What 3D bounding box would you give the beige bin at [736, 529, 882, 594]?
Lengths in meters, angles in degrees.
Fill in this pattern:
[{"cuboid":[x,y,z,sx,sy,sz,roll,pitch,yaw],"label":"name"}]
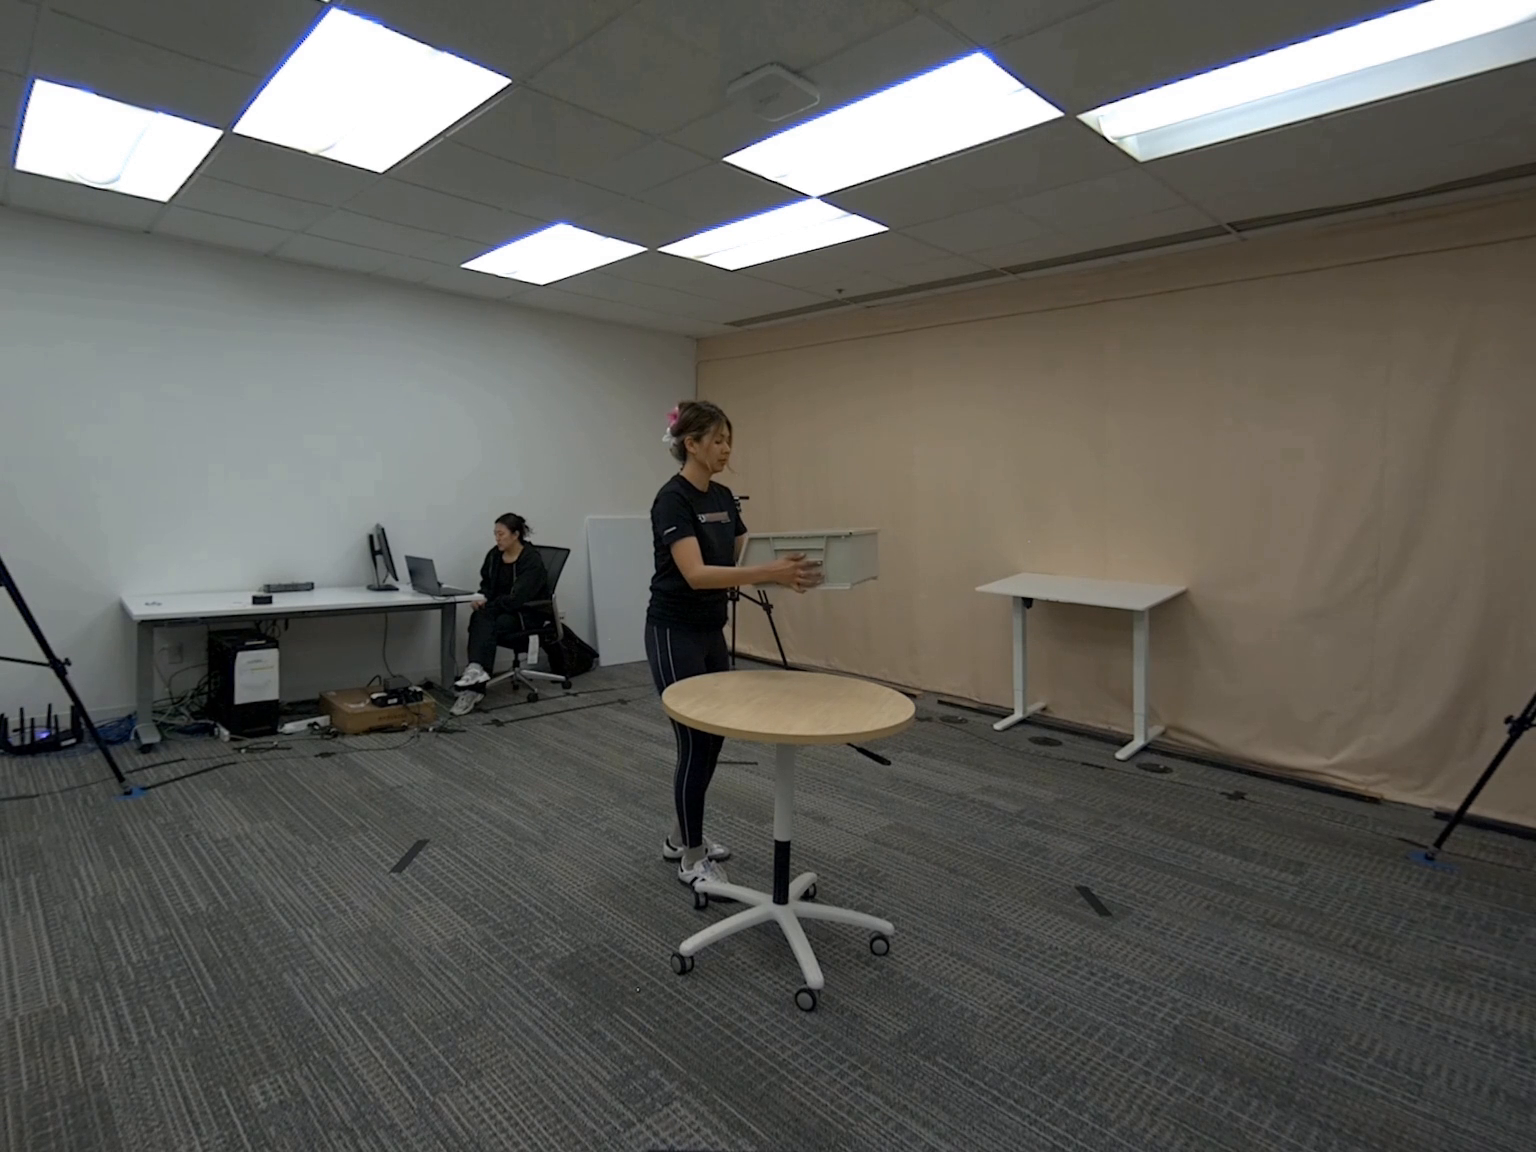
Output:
[{"cuboid":[0.137,-0.058,2.807,0.384,0.188,0.416,0,4,22],"label":"beige bin"}]
